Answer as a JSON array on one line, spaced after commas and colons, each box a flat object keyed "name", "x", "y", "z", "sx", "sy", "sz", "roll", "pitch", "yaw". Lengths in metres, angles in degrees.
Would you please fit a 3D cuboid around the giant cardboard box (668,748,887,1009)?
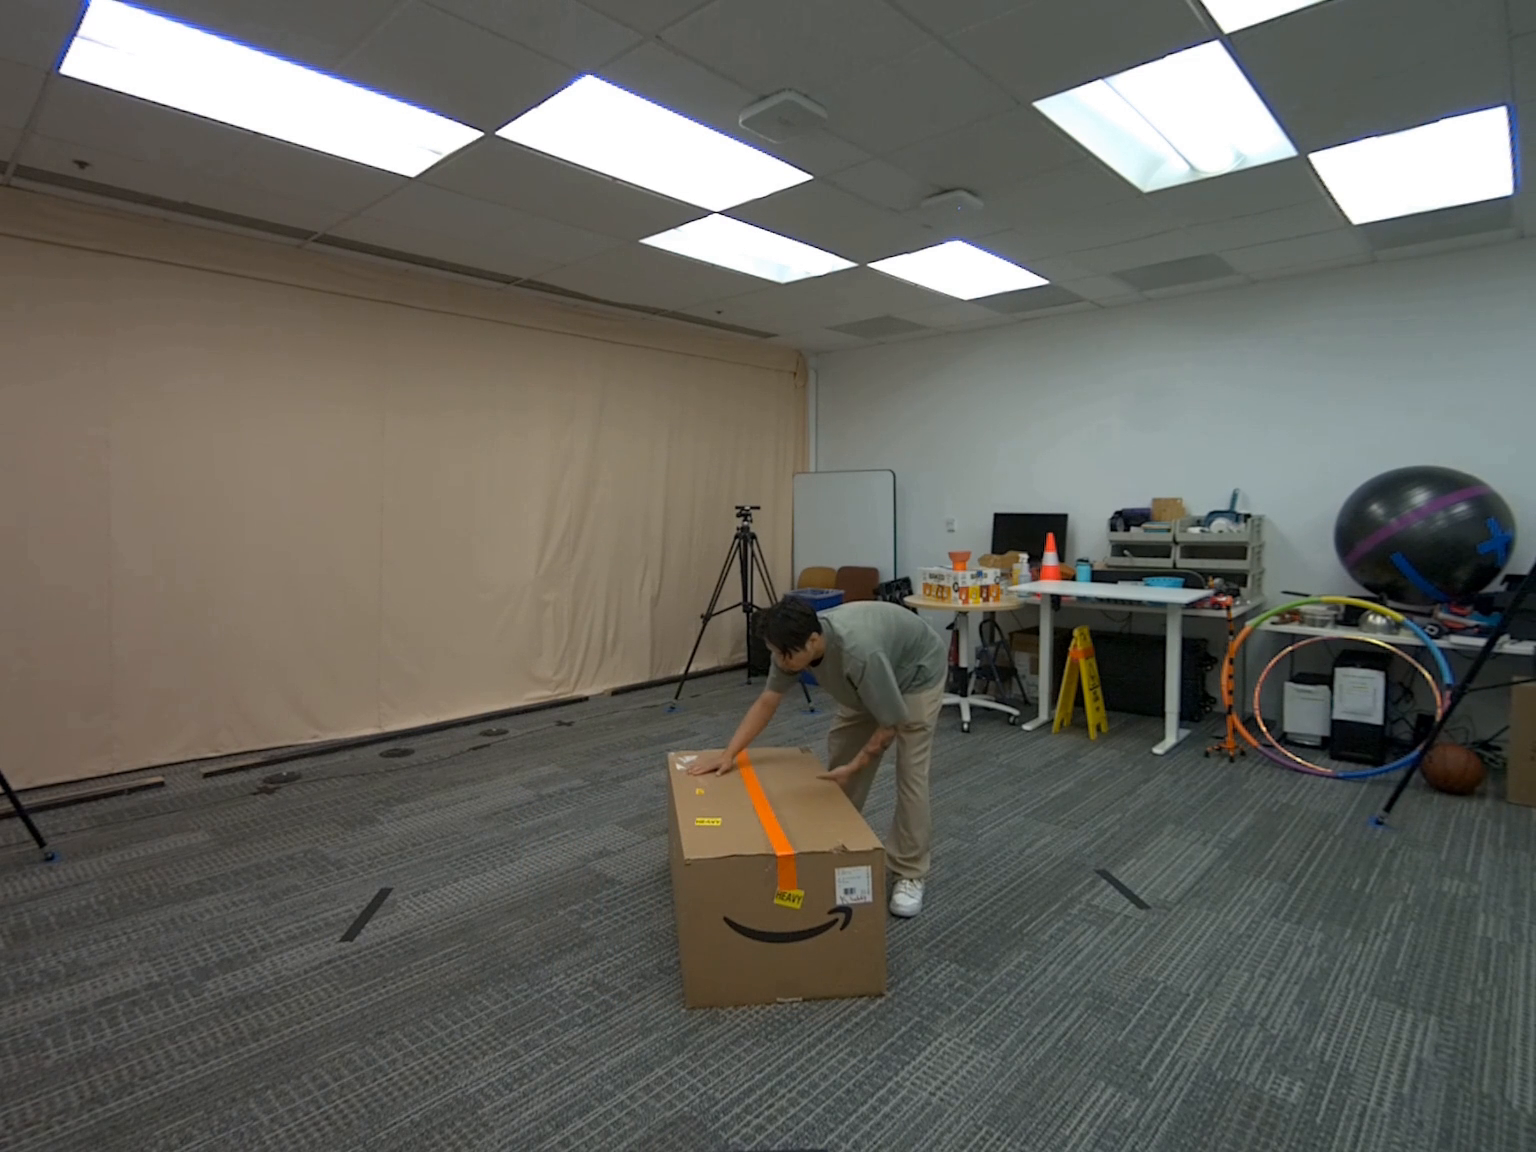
[{"name": "giant cardboard box", "x": -0.032, "y": 0.938, "z": 2.849, "sx": 0.573, "sy": 0.425, "sz": 1.036, "roll": 0, "pitch": 4, "yaw": -8}]
